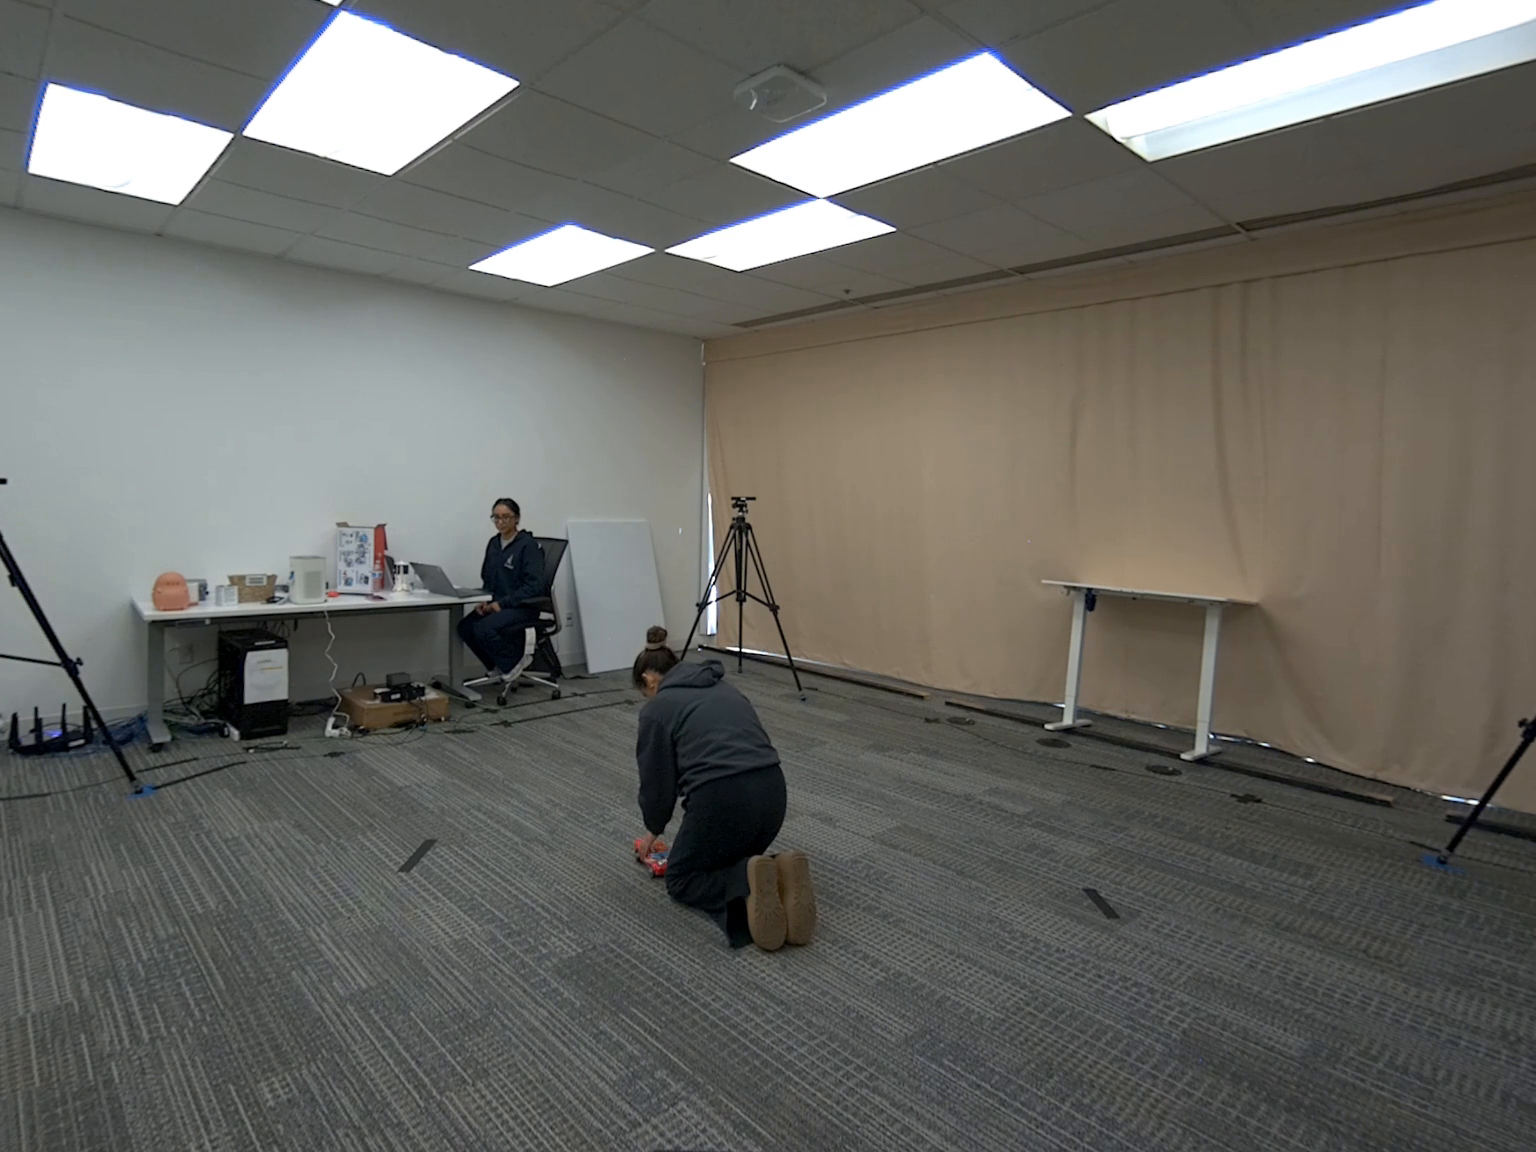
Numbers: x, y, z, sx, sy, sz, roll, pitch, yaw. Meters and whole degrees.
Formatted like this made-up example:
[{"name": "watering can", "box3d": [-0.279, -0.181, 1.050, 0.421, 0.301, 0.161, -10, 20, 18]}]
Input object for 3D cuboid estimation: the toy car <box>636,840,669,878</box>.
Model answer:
[{"name": "toy car", "box3d": [-0.433, 1.061, 3.197, 0.128, 0.082, 0.262, -3, 18, -27]}]
